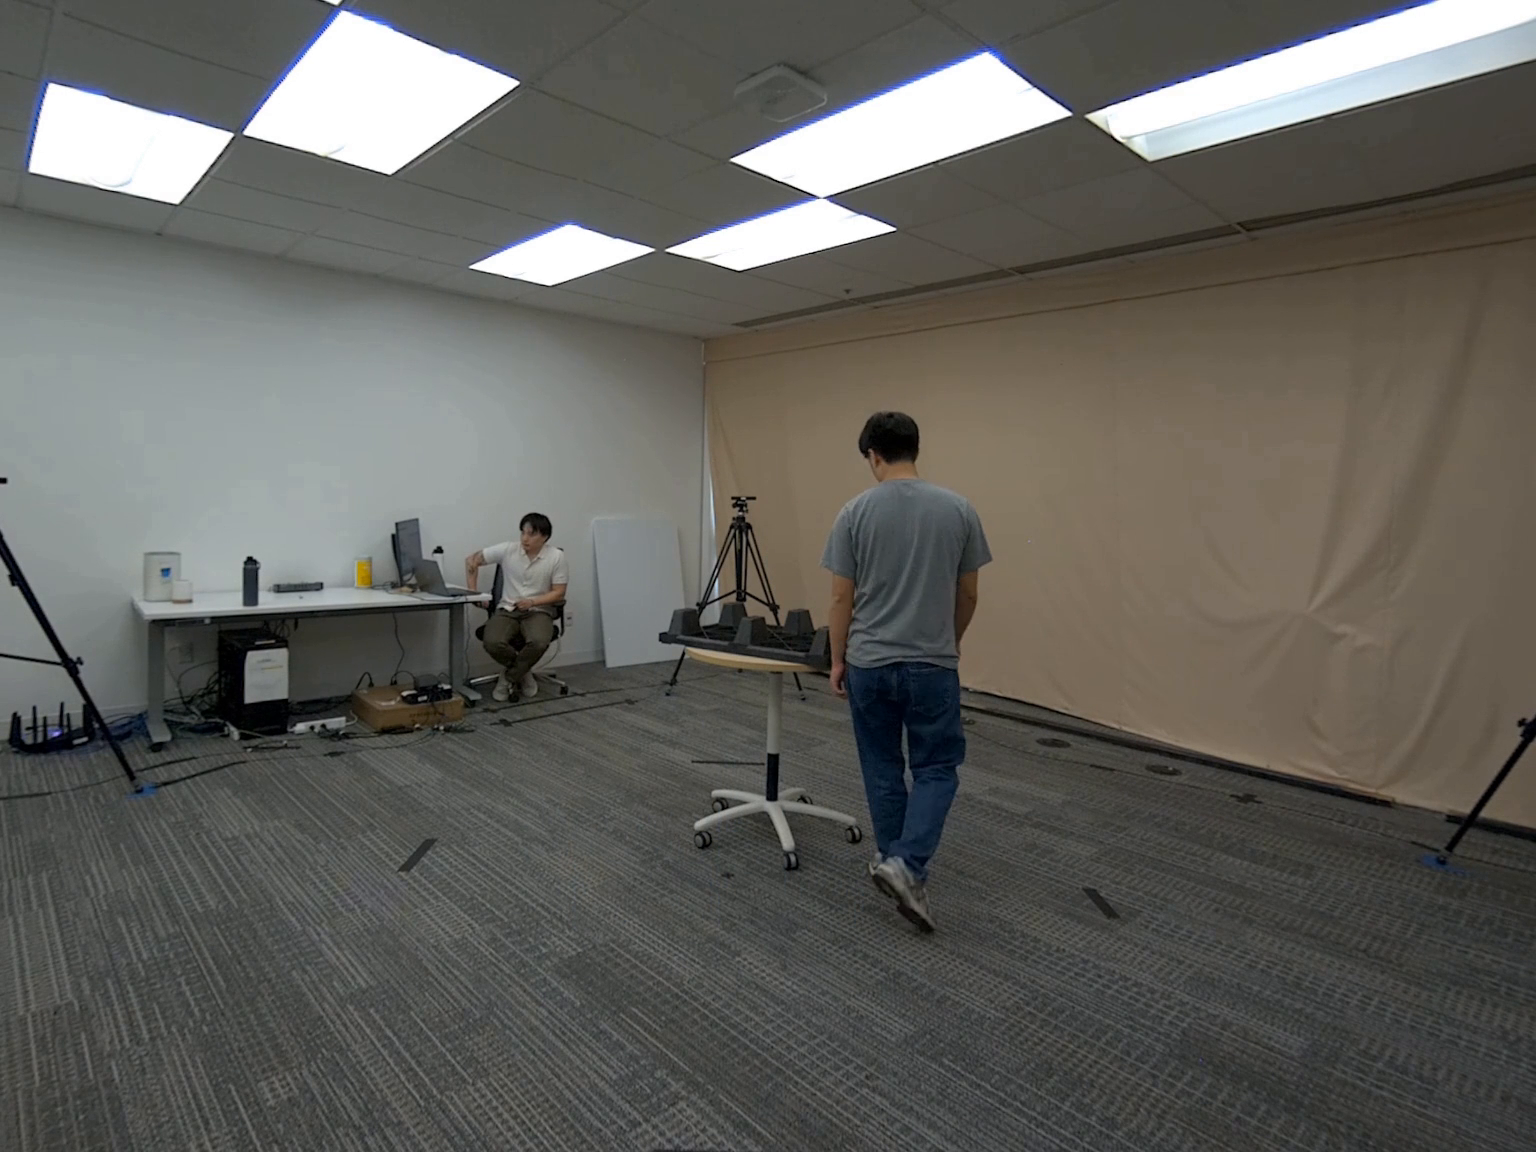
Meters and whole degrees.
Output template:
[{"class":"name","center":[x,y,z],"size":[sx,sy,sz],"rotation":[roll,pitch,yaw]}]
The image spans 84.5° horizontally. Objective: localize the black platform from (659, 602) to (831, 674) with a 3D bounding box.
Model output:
[{"class":"black platform","center":[0.021,0.226,3.522],"size":[0.824,0.143,0.592],"rotation":[5,5,32]}]
